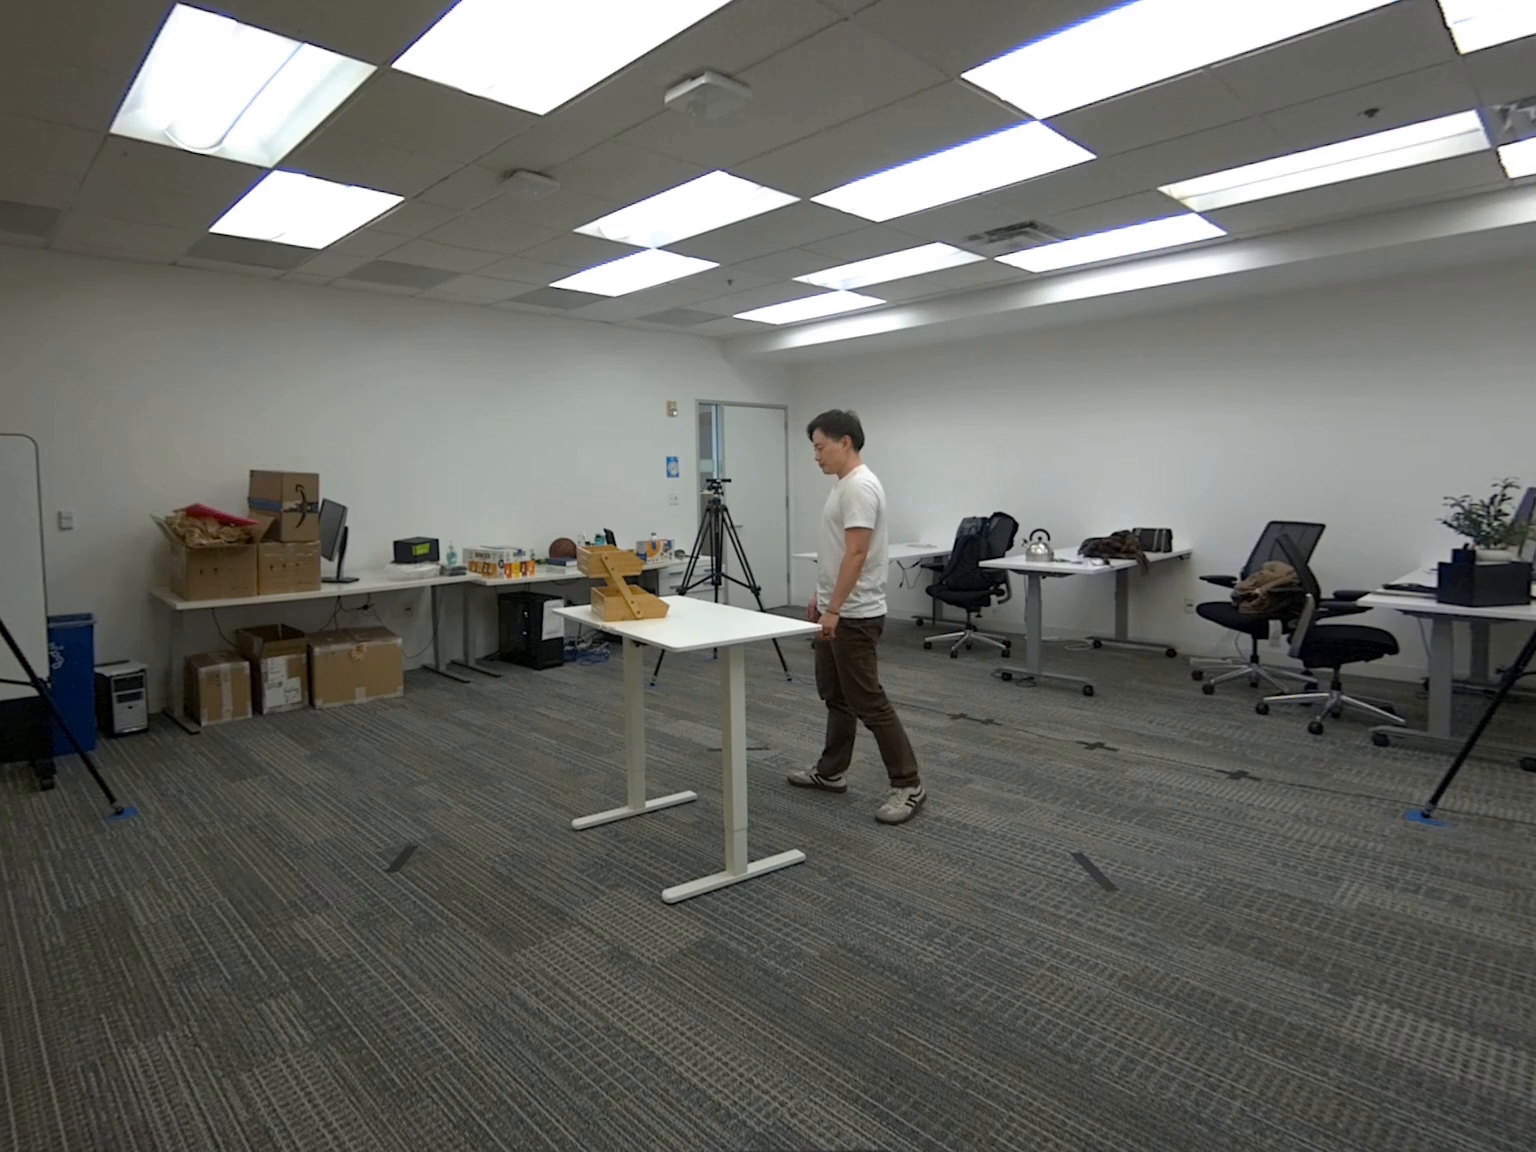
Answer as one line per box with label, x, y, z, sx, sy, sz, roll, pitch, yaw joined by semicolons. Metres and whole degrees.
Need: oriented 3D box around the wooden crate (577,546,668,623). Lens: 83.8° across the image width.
wooden crate;-0.564;0.016;3.320;0.297;0.272;0.331;-4;6;-20
